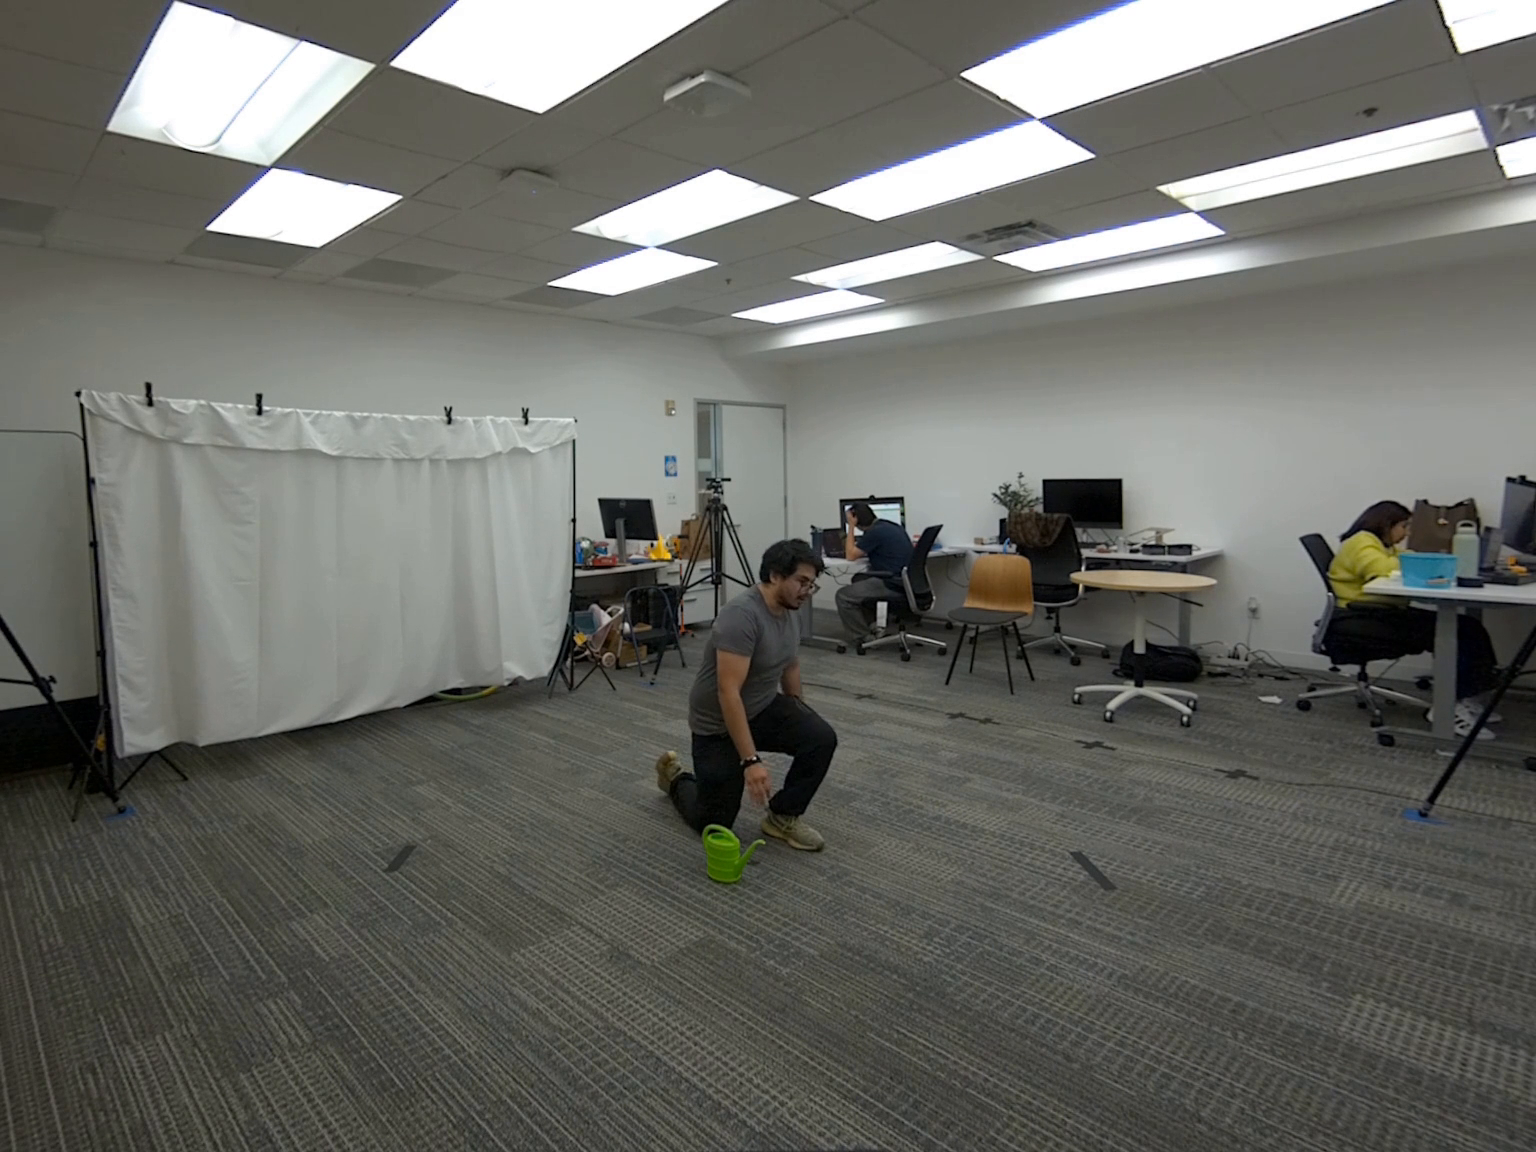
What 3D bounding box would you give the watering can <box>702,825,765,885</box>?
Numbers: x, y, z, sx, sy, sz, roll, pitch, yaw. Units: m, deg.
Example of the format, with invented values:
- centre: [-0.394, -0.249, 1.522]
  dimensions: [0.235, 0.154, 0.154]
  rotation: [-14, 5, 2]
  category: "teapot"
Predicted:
- centre: [-0.132, 0.973, 2.961]
  dimensions: [0.095, 0.176, 0.286]
  rotation: [-5, 6, -34]
  category: "watering can"
